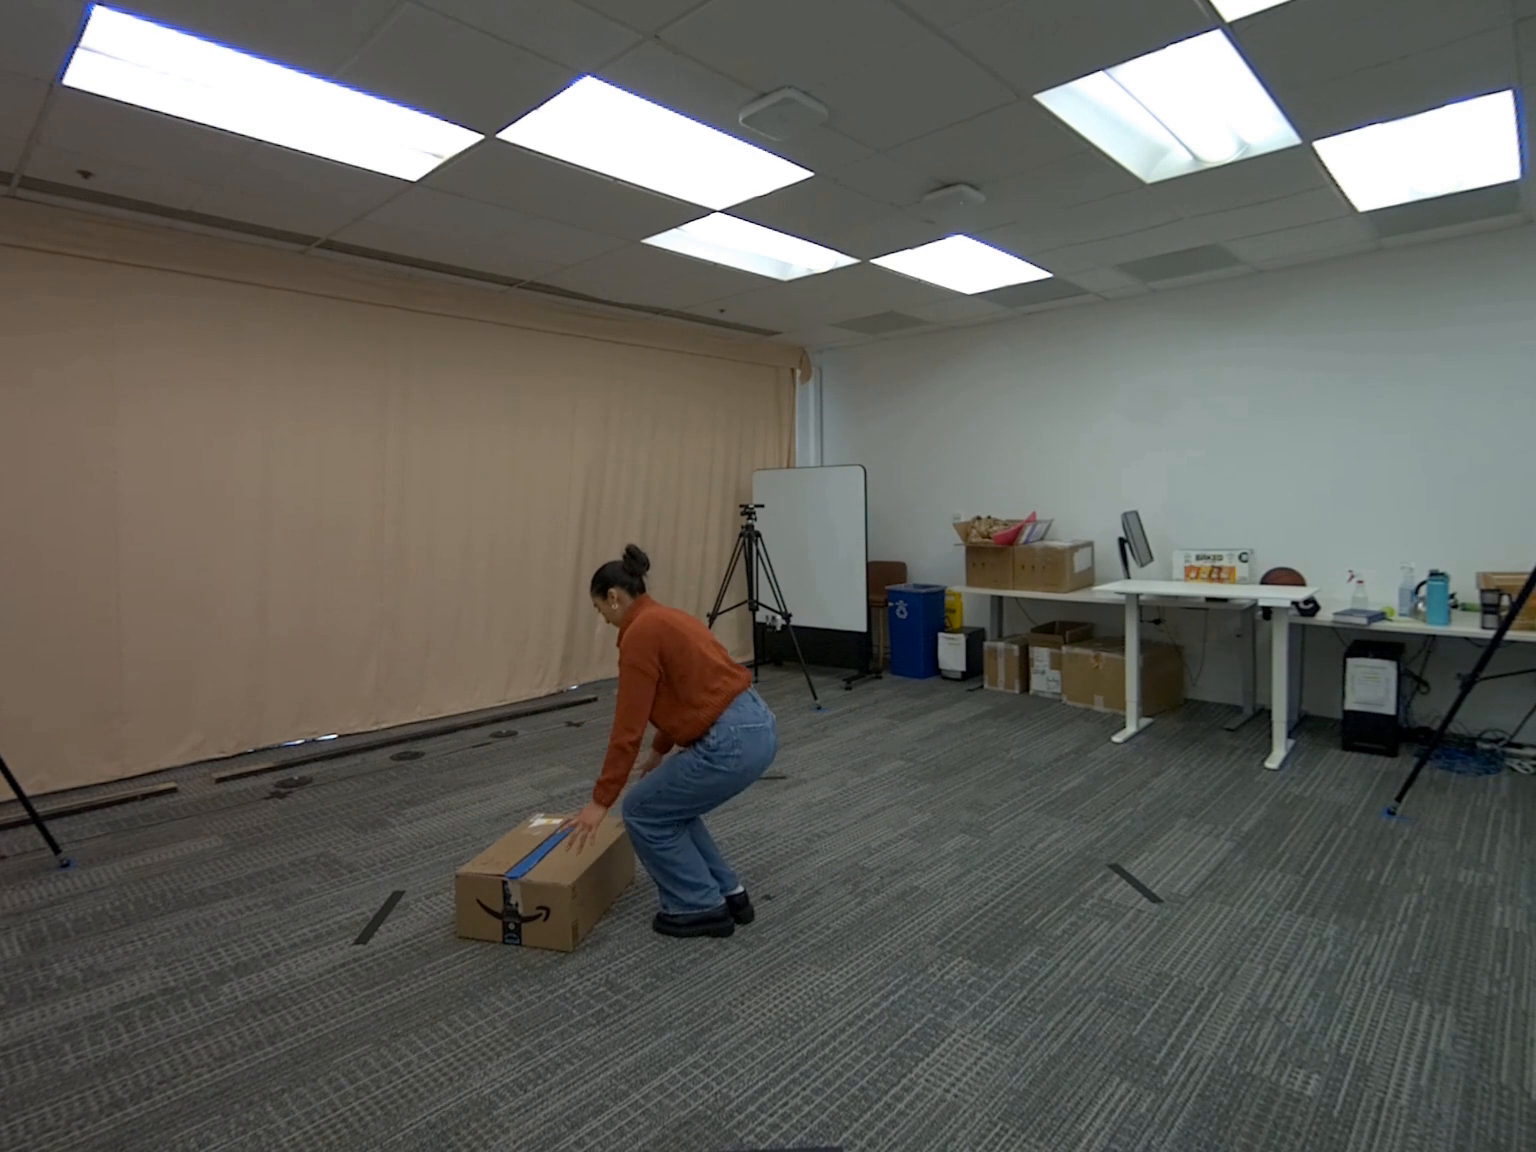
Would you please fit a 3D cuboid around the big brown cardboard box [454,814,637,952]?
[{"bbox_3d":[-0.756,1.045,2.962,0.424,0.232,0.582,0,5,13],"label":"big brown cardboard box"}]
